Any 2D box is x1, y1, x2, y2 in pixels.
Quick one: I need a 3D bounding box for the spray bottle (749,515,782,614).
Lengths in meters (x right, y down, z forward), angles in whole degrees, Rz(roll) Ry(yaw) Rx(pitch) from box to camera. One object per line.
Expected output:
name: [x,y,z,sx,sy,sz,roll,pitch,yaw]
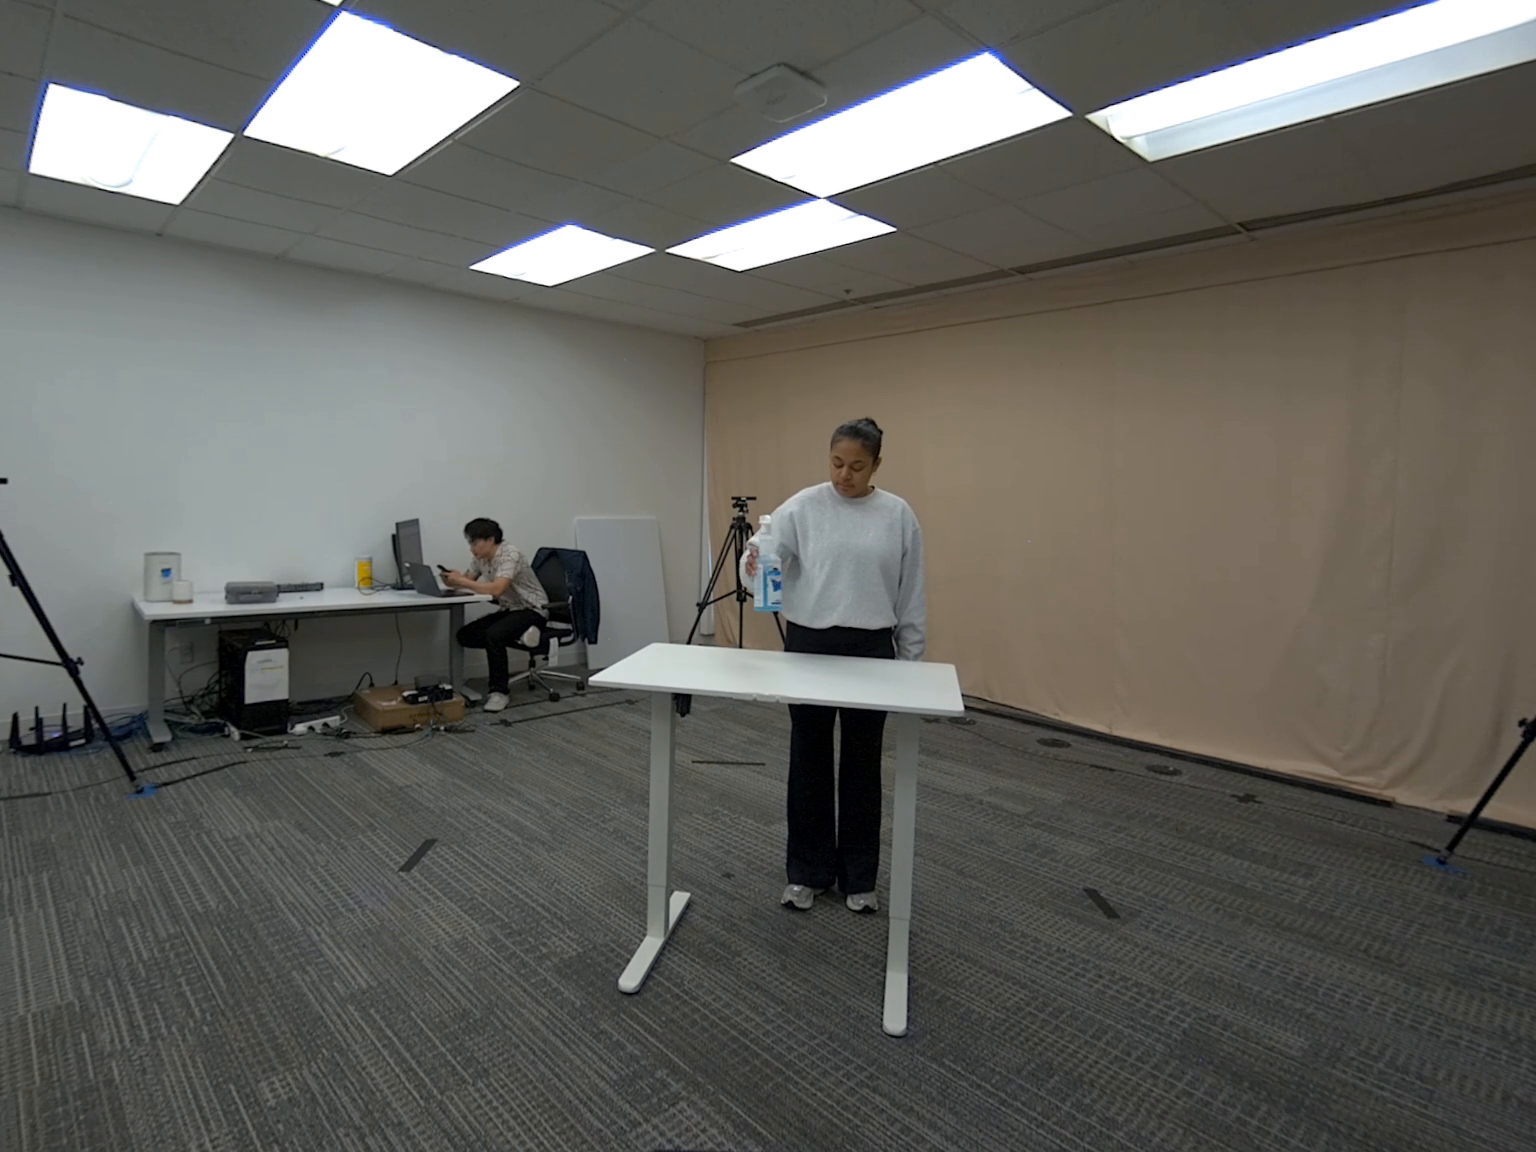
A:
spray bottle: [-0.001,-0.025,2.586,0.088,0.299,0.089,-4,-6,9]
